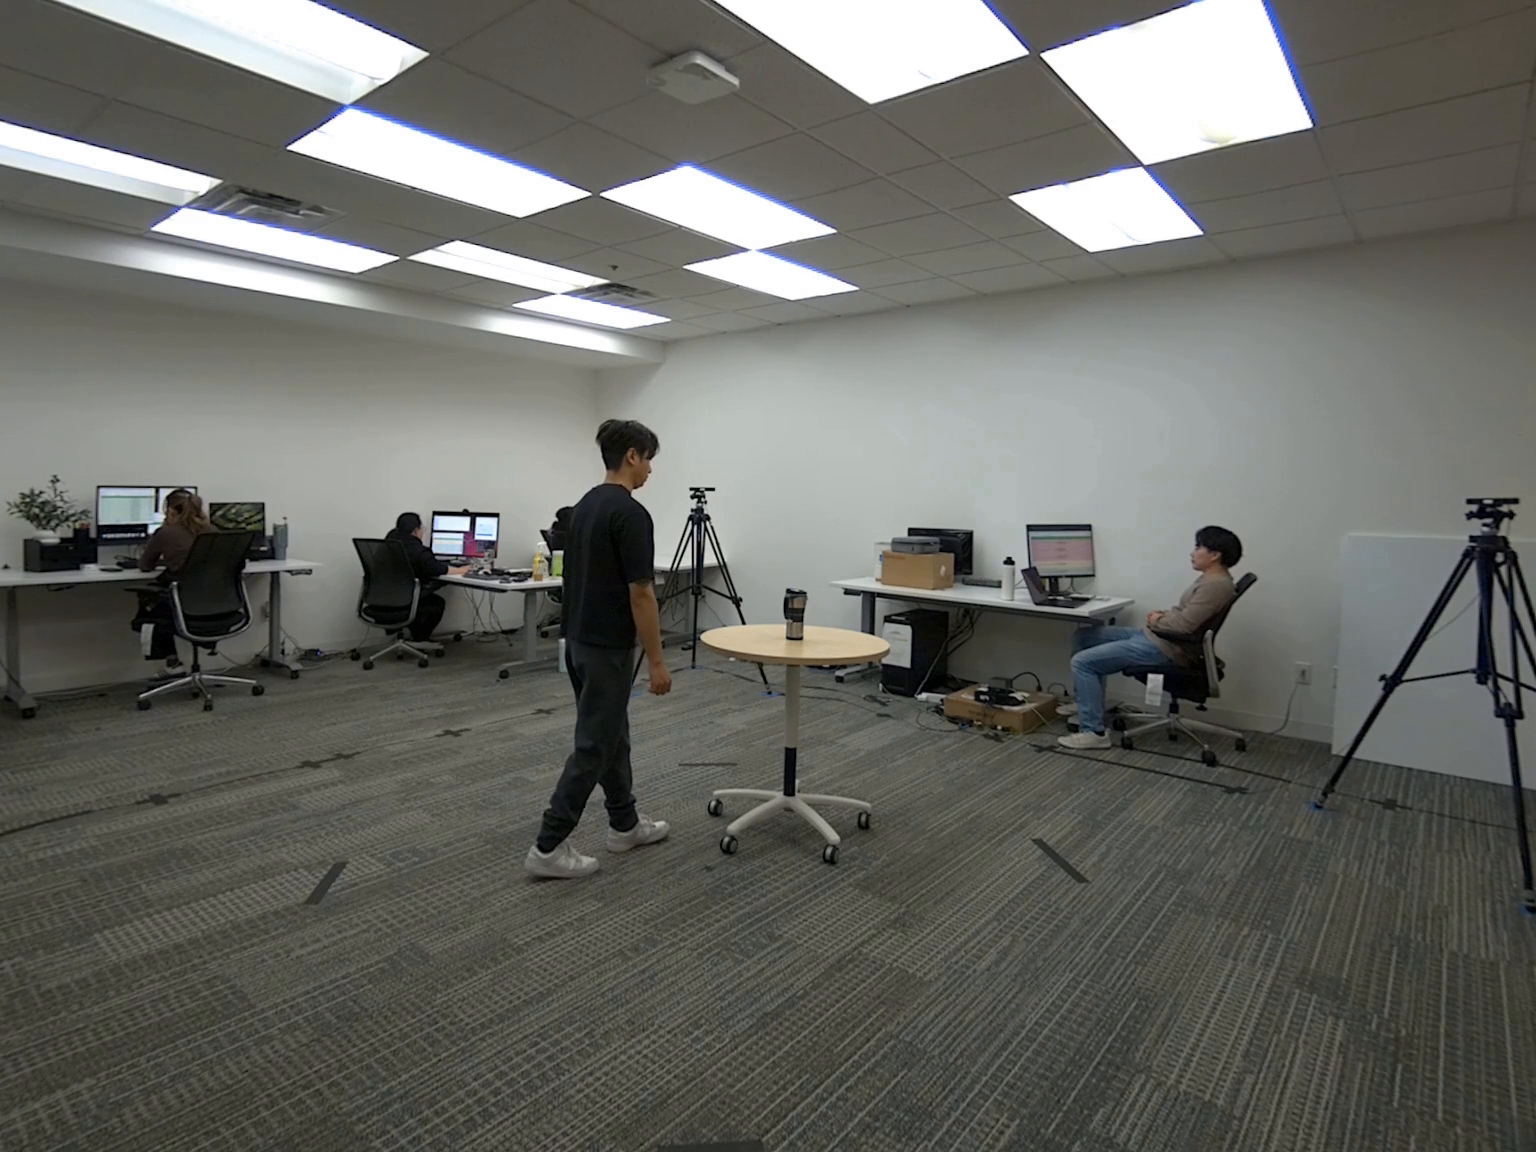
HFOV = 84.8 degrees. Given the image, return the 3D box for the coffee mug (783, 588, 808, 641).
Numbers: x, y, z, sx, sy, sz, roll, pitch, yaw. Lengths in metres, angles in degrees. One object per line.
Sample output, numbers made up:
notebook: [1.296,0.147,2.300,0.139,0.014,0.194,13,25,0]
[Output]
coffee mug: [0.086,0.155,3.455,0.118,0.202,0.091,3,8,-35]
